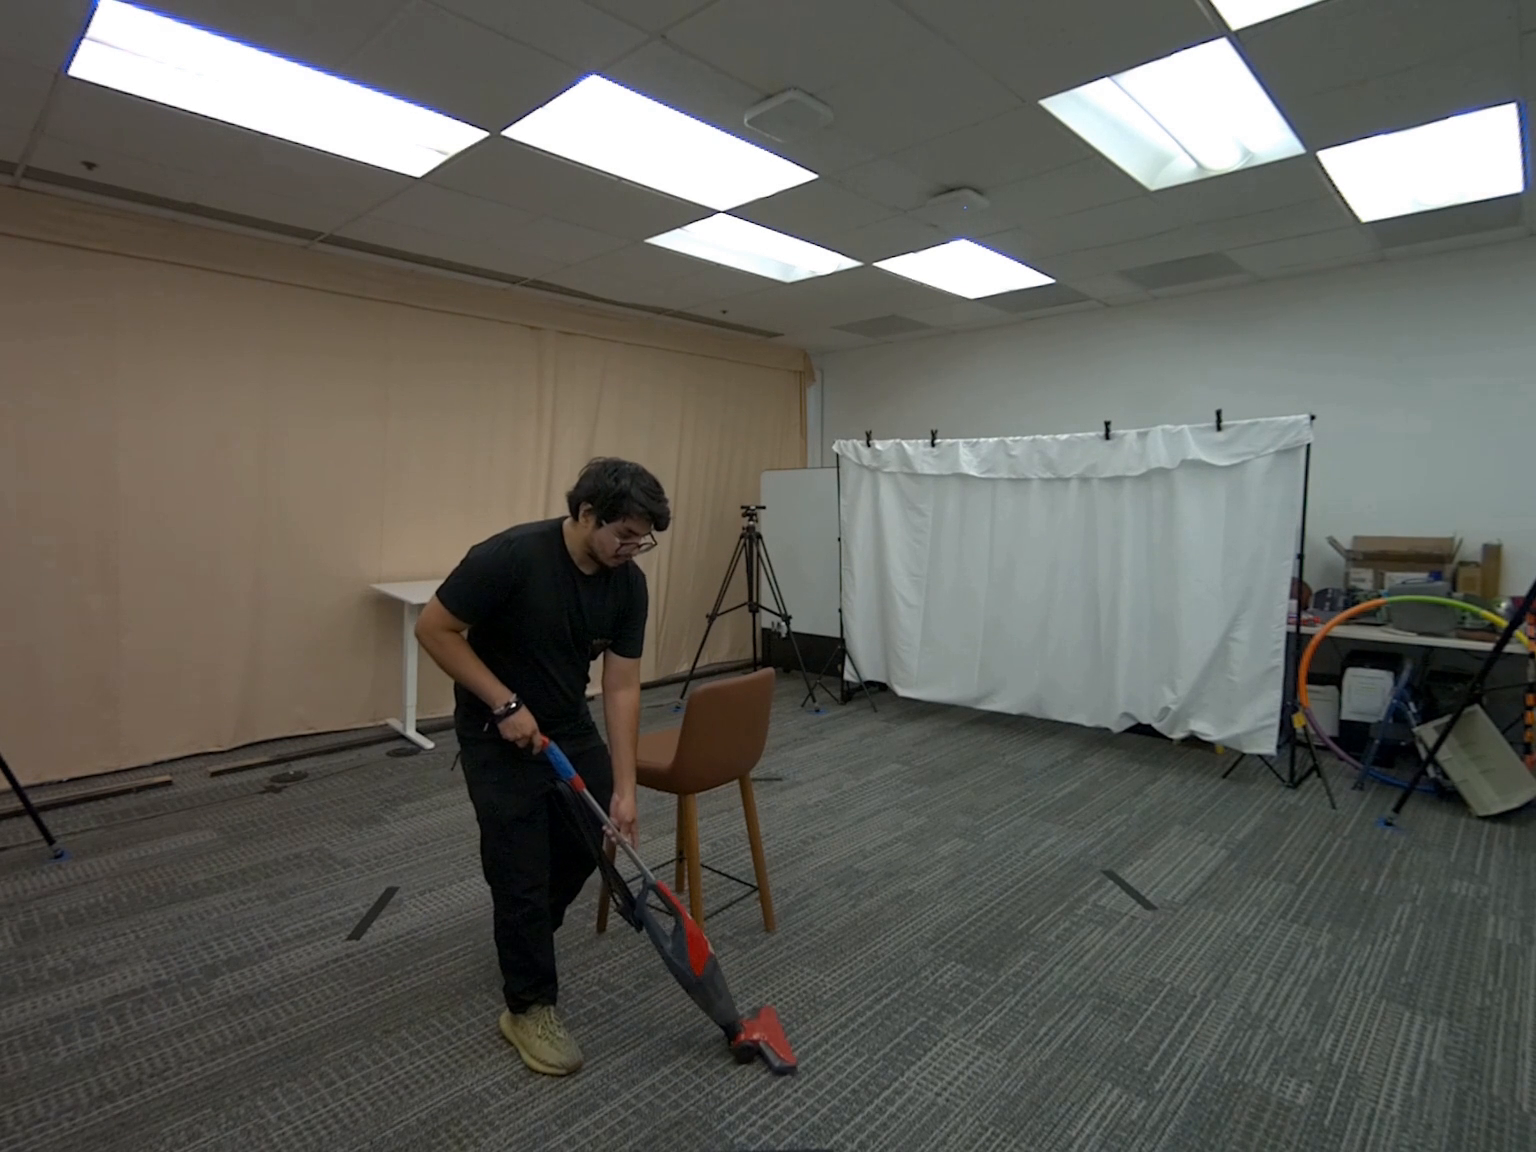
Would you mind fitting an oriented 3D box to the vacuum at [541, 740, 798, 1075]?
[{"bbox_3d":[-0.293,0.778,2.082,0.143,1.037,0.257,-35,10,-15],"label":"vacuum"}]
